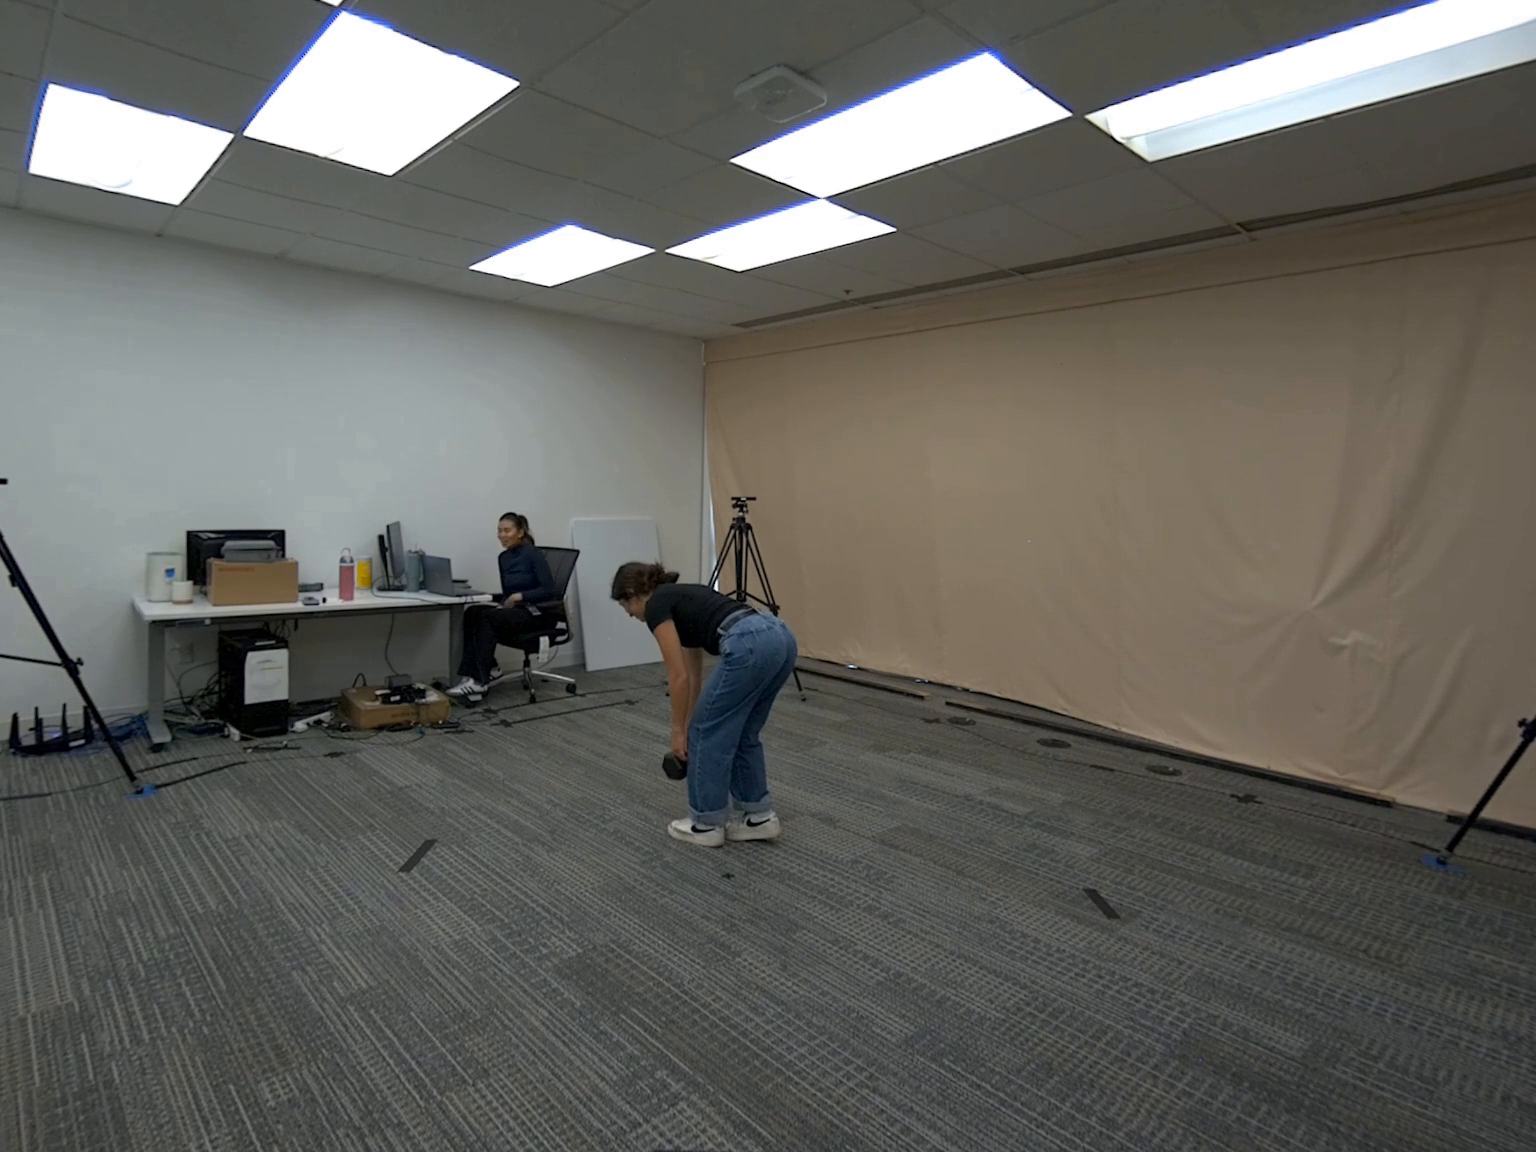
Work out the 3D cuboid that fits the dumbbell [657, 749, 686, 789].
[{"bbox_3d":[-0.301,0.750,3.528,0.289,0.125,0.109,-17,-24,-50],"label":"dumbbell"}]
